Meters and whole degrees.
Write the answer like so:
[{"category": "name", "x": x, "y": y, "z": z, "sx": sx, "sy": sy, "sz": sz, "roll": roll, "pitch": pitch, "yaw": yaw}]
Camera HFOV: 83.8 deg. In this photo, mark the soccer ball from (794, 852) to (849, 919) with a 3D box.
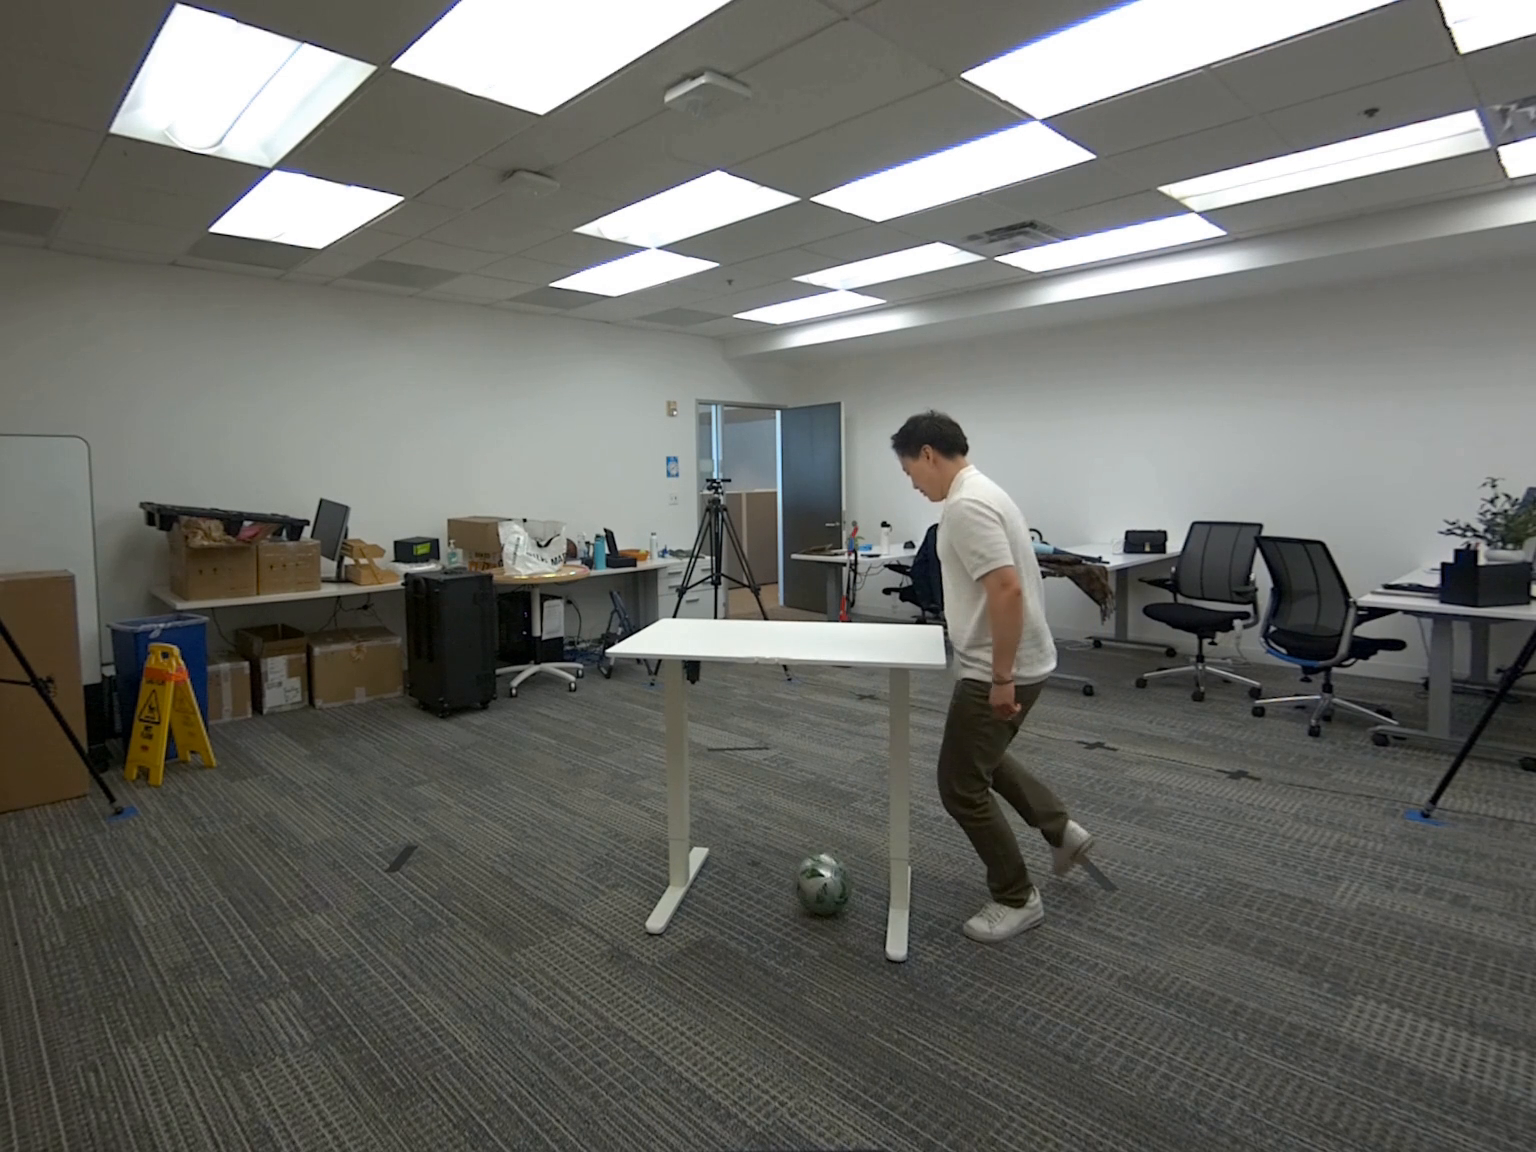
[{"category": "soccer ball", "x": 0.181, "y": 0.986, "z": 2.745, "sx": 0.187, "sy": 0.187, "sz": 0.188, "roll": -1, "pitch": 5, "yaw": -2}]
